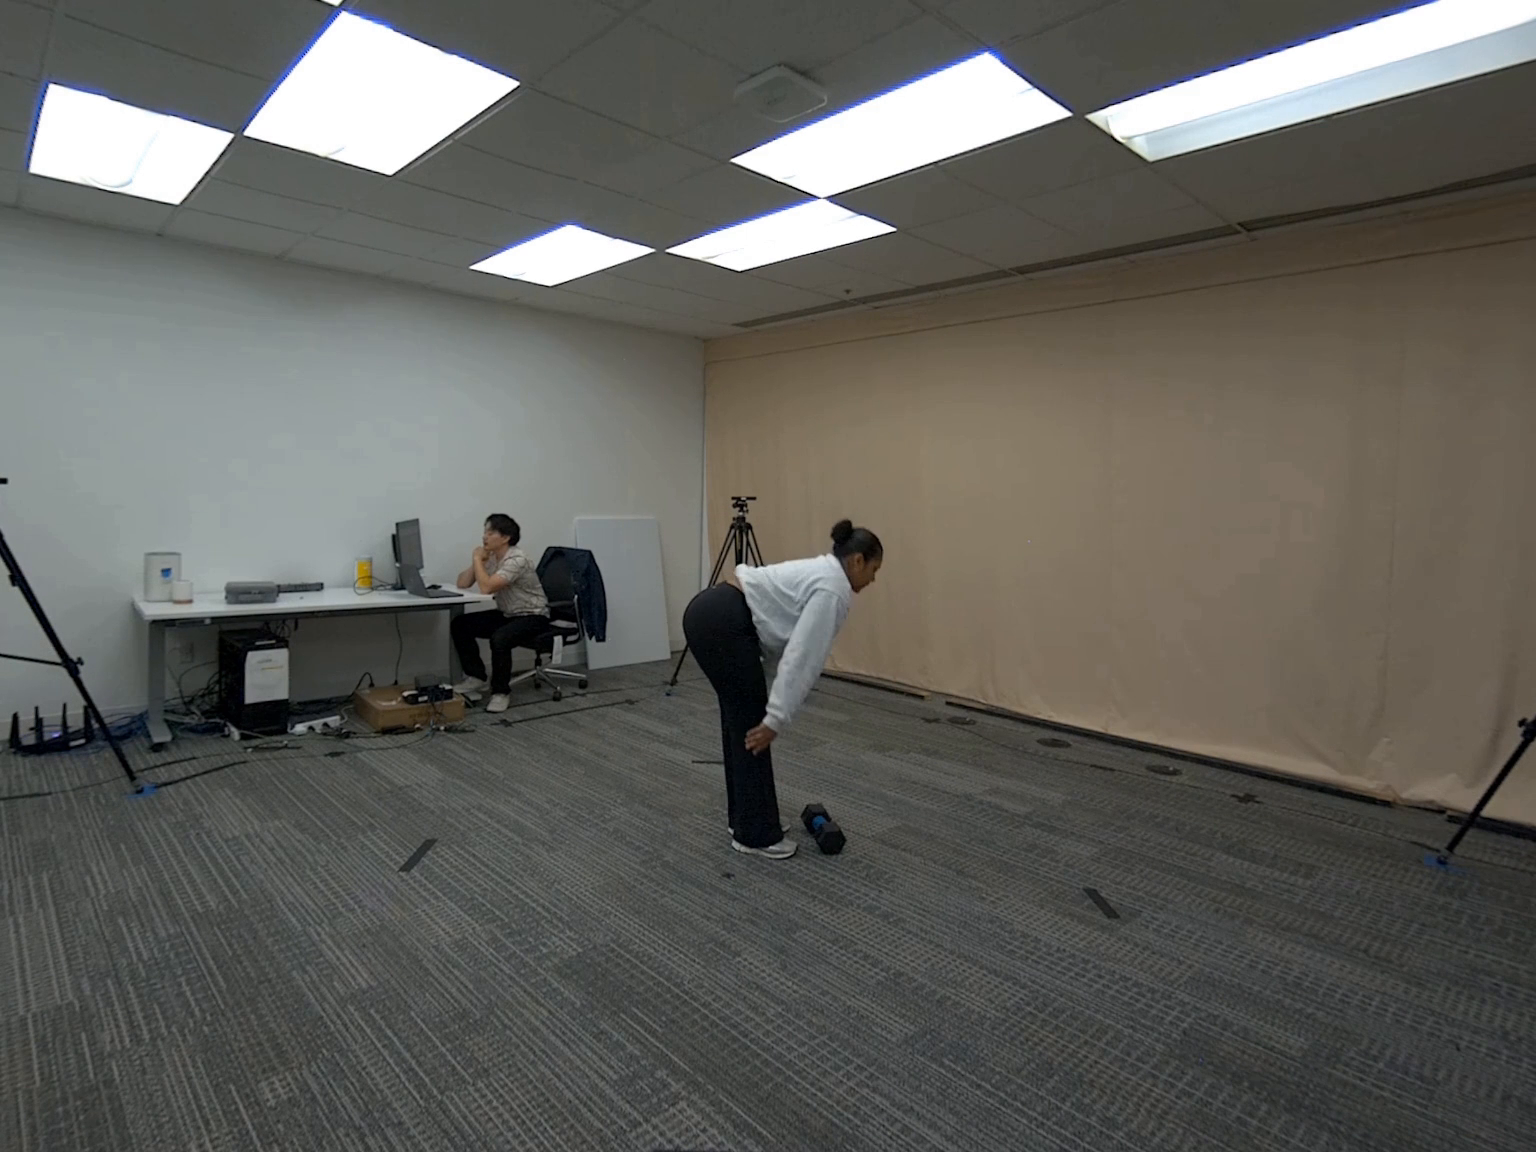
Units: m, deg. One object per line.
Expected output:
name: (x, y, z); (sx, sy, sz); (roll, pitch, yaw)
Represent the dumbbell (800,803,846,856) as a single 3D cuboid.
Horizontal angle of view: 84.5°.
dumbbell: (0.212, 1.029, 3.444); (0.122, 0.108, 0.297); (0, 5, -11)
